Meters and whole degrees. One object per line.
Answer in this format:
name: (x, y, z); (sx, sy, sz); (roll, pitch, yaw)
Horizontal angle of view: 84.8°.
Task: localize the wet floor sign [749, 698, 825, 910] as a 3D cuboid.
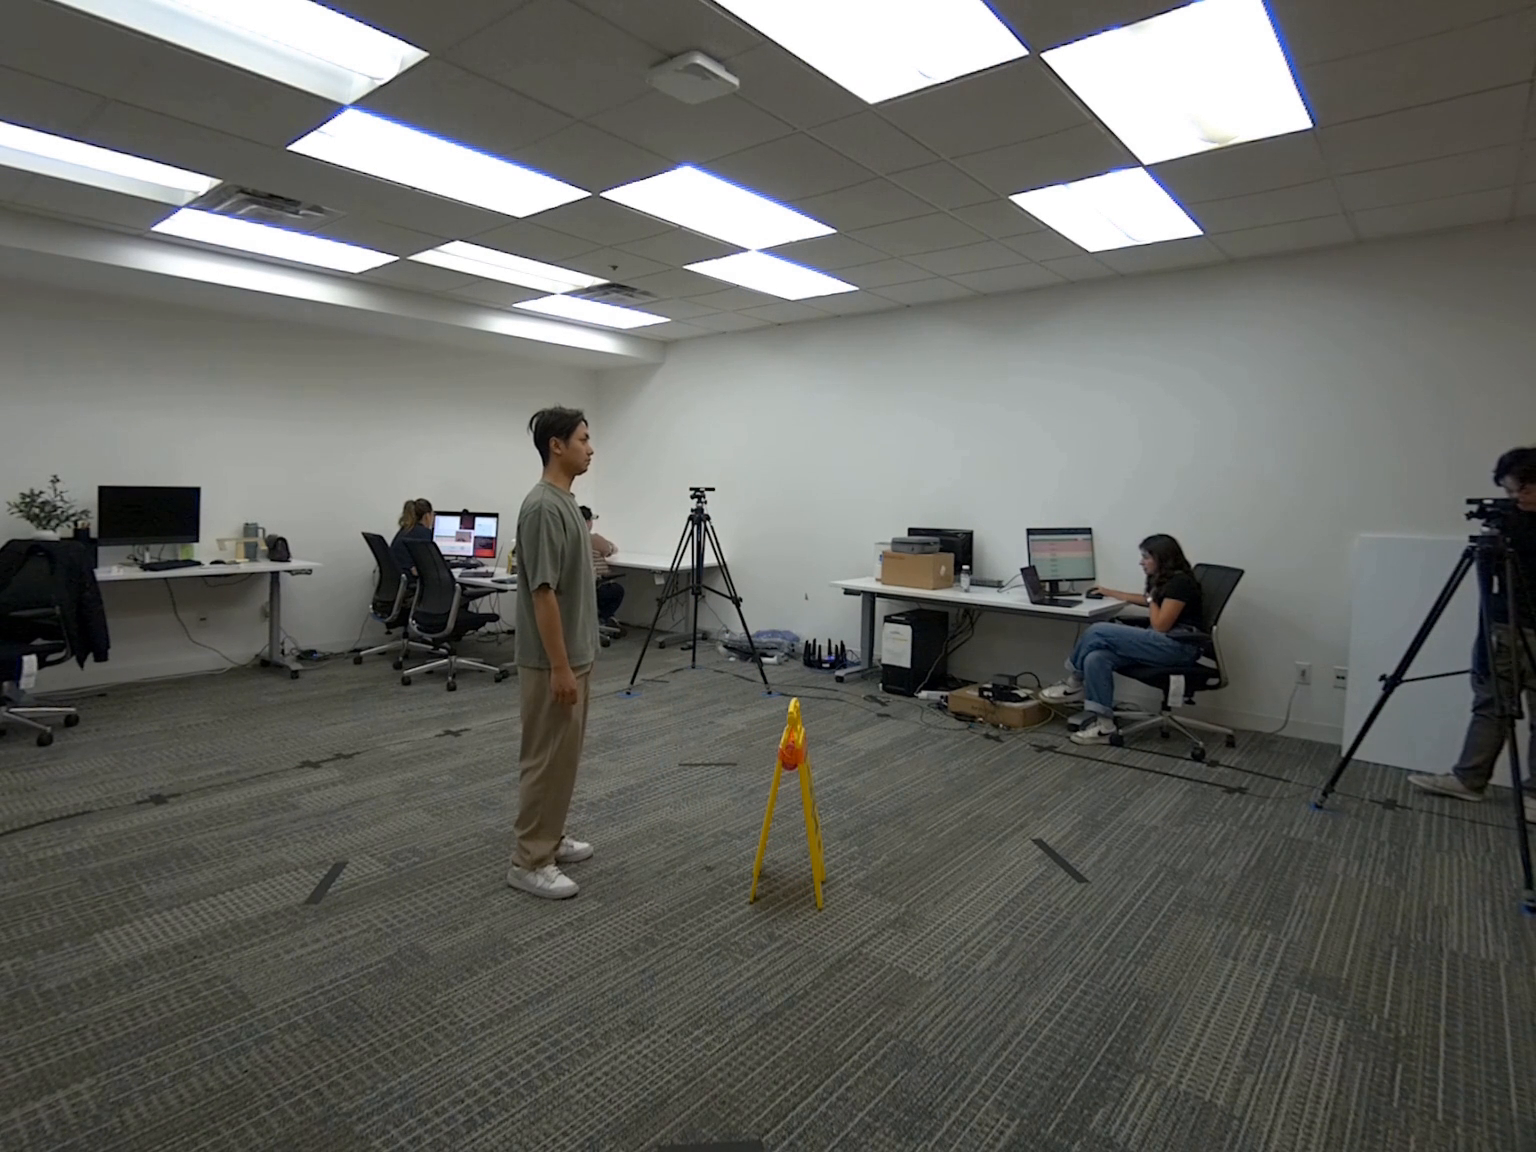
wet floor sign: (0.076, 0.769, 2.953); (0.292, 0.644, 0.281); (3, 4, 6)
